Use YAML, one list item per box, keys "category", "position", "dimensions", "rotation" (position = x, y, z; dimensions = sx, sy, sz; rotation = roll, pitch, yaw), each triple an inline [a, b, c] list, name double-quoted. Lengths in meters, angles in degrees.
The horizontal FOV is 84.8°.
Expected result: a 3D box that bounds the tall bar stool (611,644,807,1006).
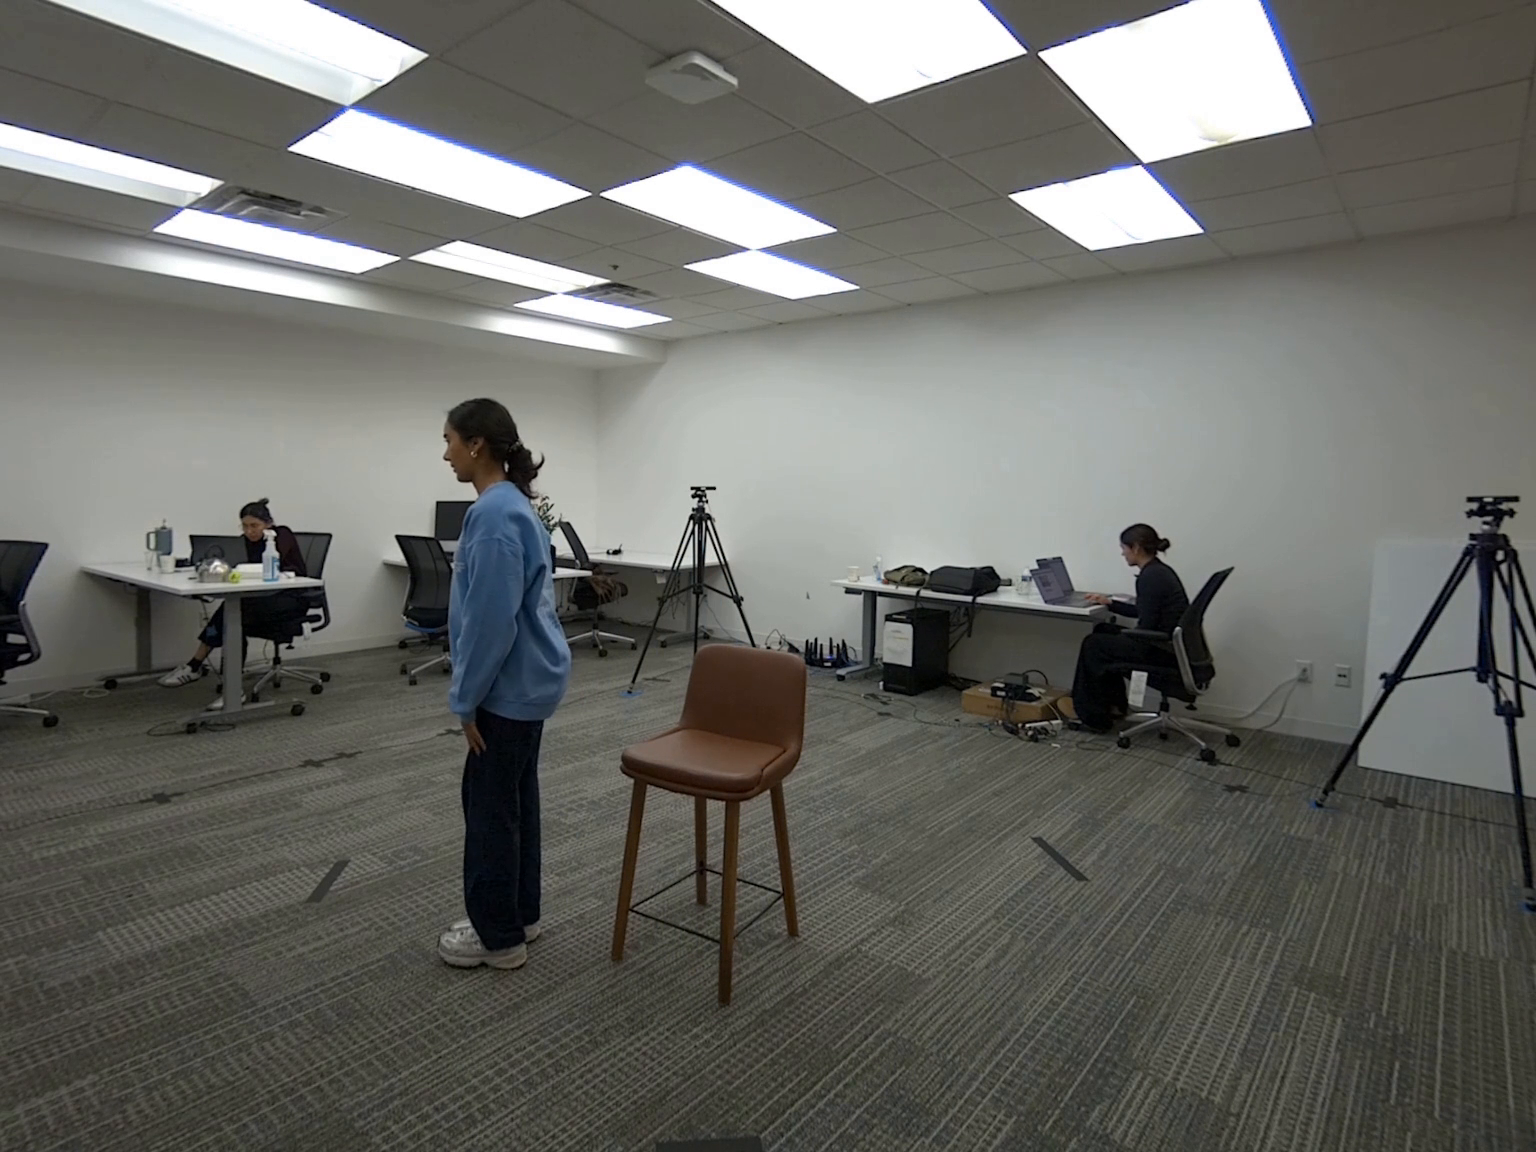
- category: "tall bar stool"
  position: [-0.171, 0.688, 2.549]
  dimensions: [0.470, 0.888, 0.454]
  rotation: [4, 2, 31]
